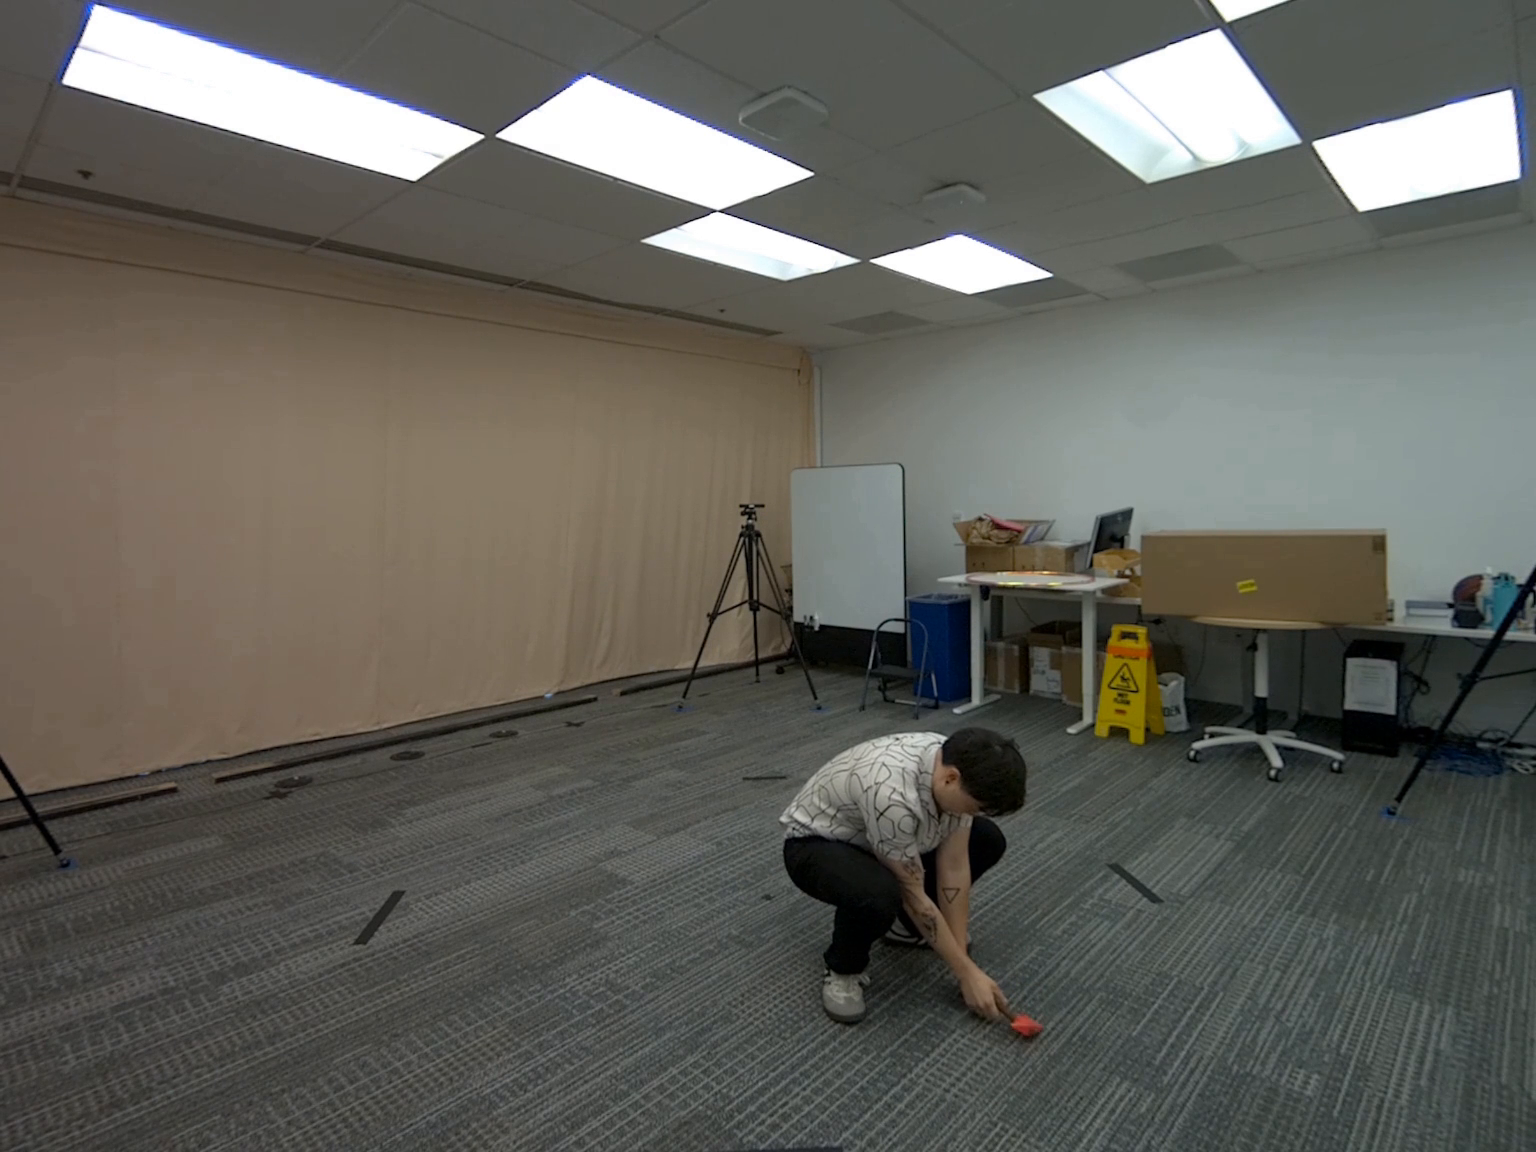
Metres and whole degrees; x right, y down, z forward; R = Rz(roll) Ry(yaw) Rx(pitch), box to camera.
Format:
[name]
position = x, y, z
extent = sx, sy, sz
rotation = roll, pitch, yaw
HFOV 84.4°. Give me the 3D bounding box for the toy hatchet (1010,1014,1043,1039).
[toy hatchet]
position = 0.639, 1.160, 2.277
extent = 0.128, 0.029, 0.275
rotation = 17, -6, -18
